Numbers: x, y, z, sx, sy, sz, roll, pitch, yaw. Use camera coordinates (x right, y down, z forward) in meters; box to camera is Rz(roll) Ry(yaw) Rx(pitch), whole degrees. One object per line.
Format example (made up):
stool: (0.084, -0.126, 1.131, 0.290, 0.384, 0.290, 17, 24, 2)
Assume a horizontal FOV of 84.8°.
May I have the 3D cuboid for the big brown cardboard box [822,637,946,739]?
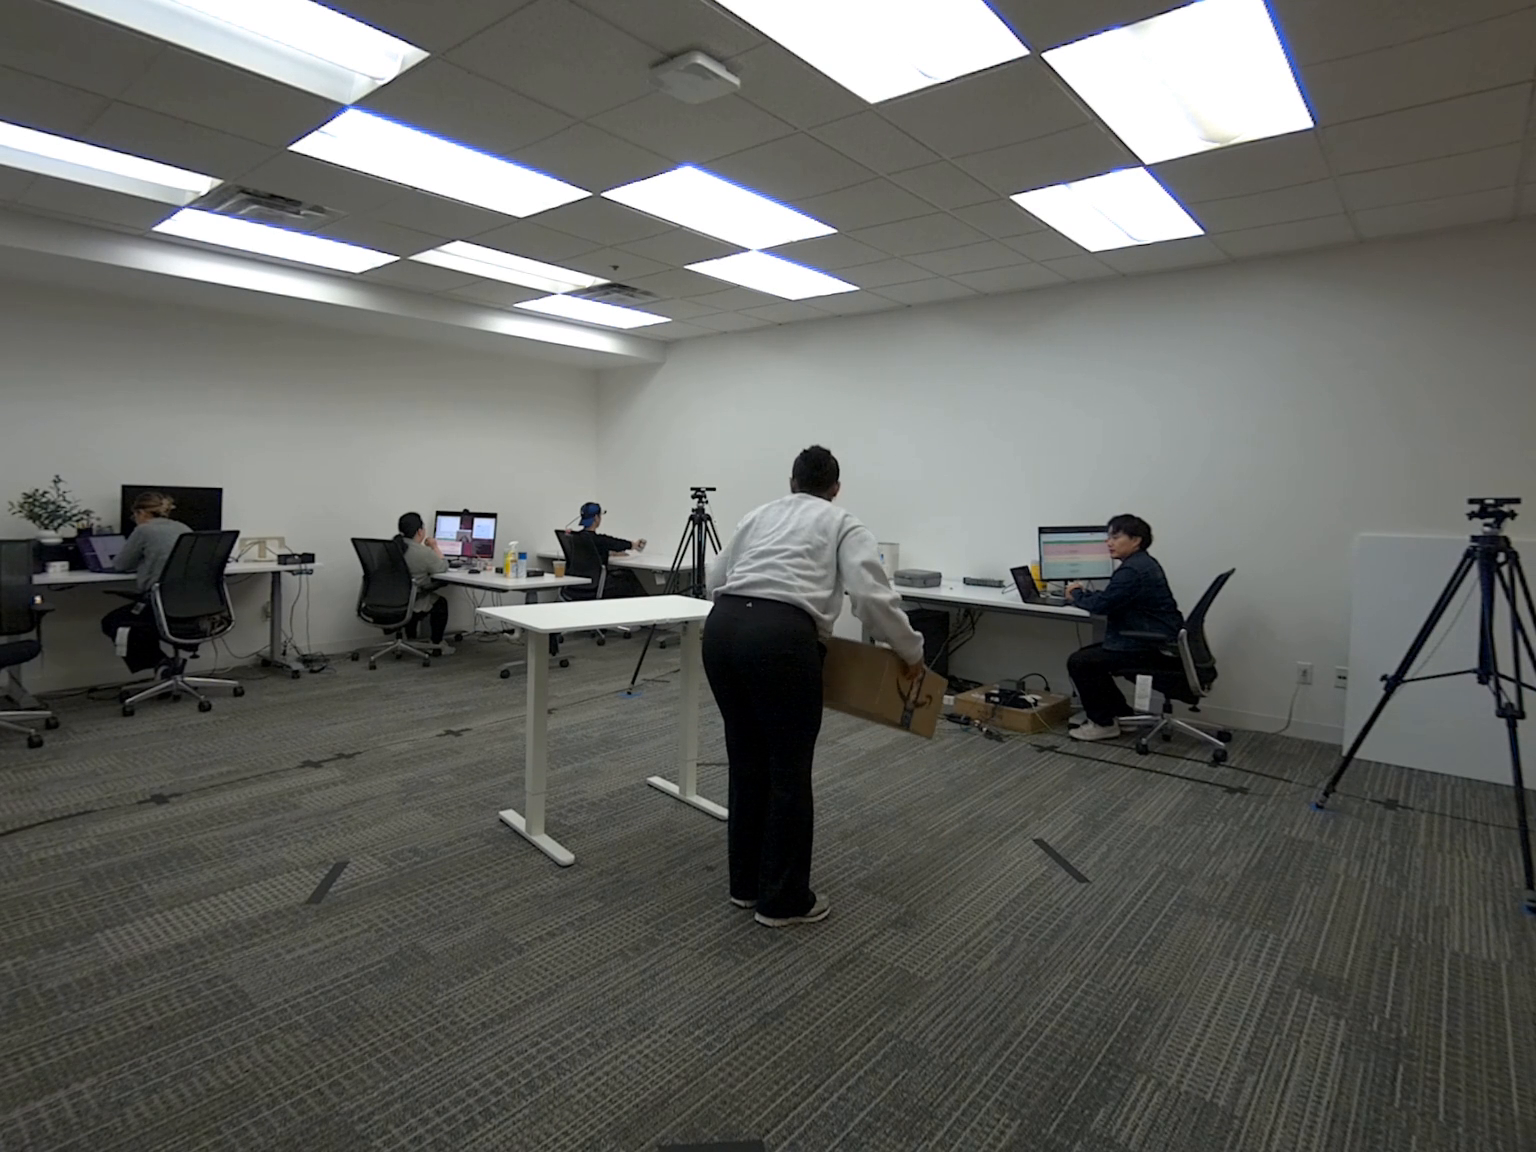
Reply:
big brown cardboard box: (0.254, 0.369, 3.021, 0.610, 0.235, 0.400, 8, -14, 40)
